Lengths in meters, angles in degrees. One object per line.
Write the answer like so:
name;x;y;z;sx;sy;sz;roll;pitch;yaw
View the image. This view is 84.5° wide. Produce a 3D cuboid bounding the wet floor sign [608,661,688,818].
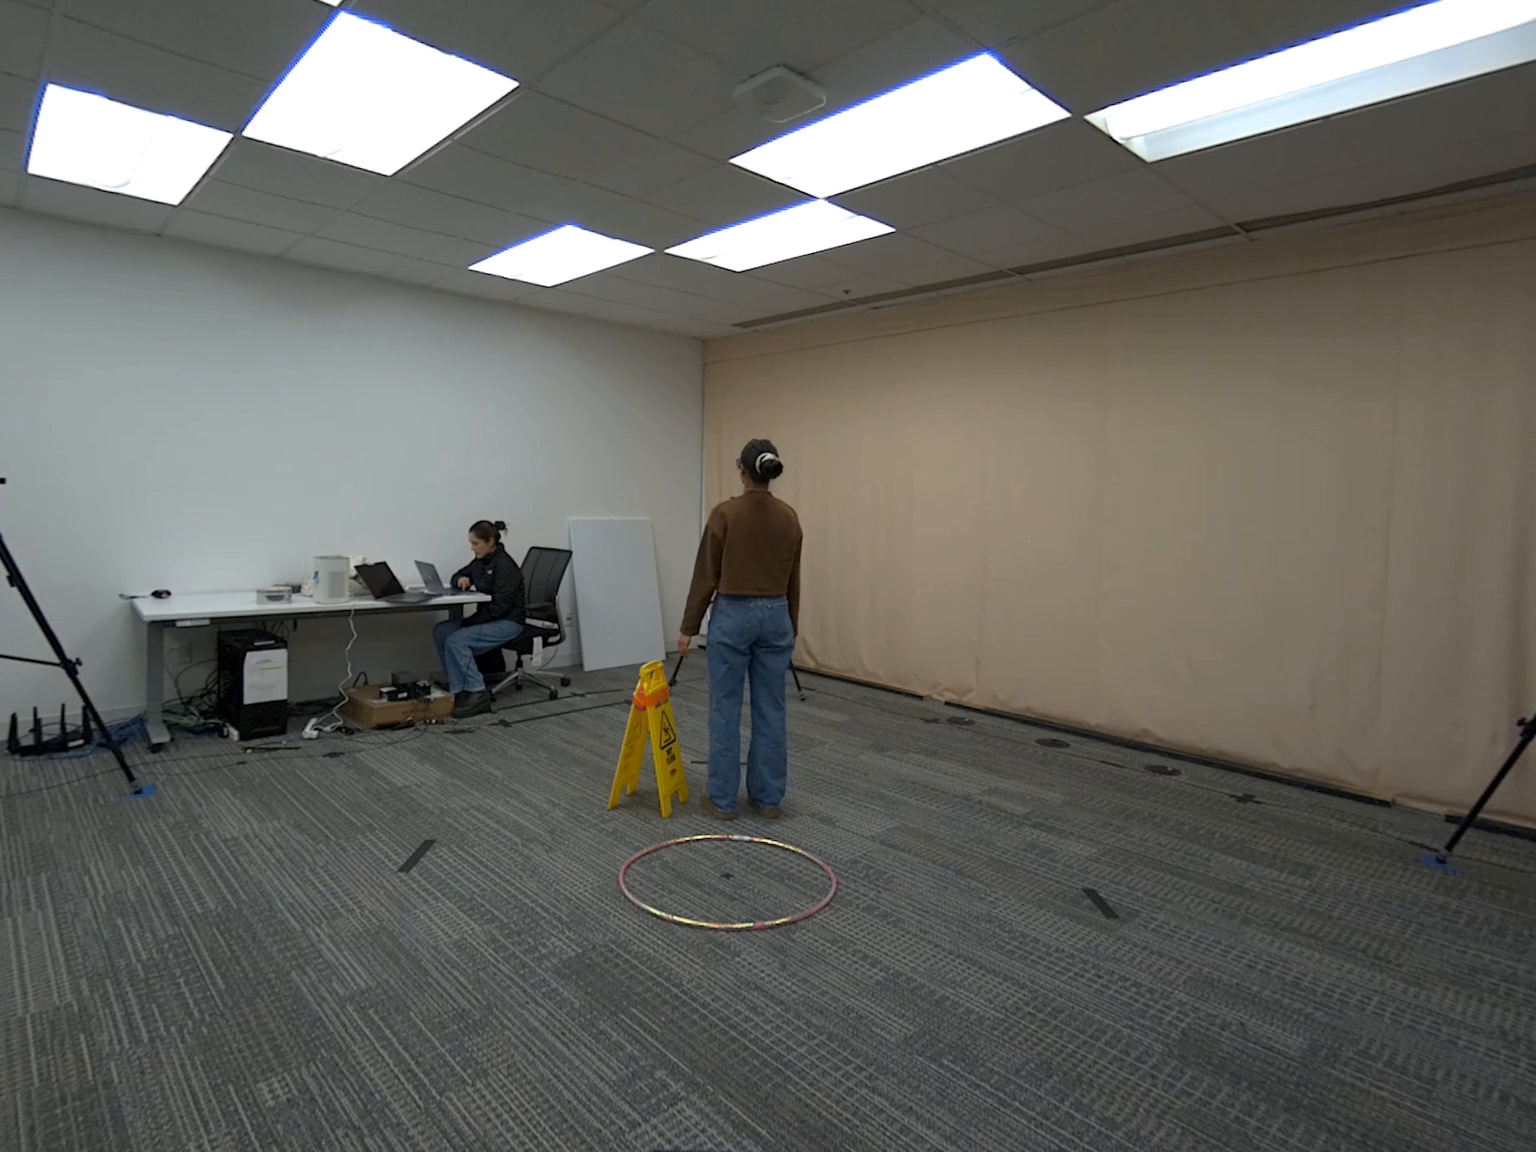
wet floor sign;-0.539;0.709;3.802;0.294;0.645;0.278;3;2;17
